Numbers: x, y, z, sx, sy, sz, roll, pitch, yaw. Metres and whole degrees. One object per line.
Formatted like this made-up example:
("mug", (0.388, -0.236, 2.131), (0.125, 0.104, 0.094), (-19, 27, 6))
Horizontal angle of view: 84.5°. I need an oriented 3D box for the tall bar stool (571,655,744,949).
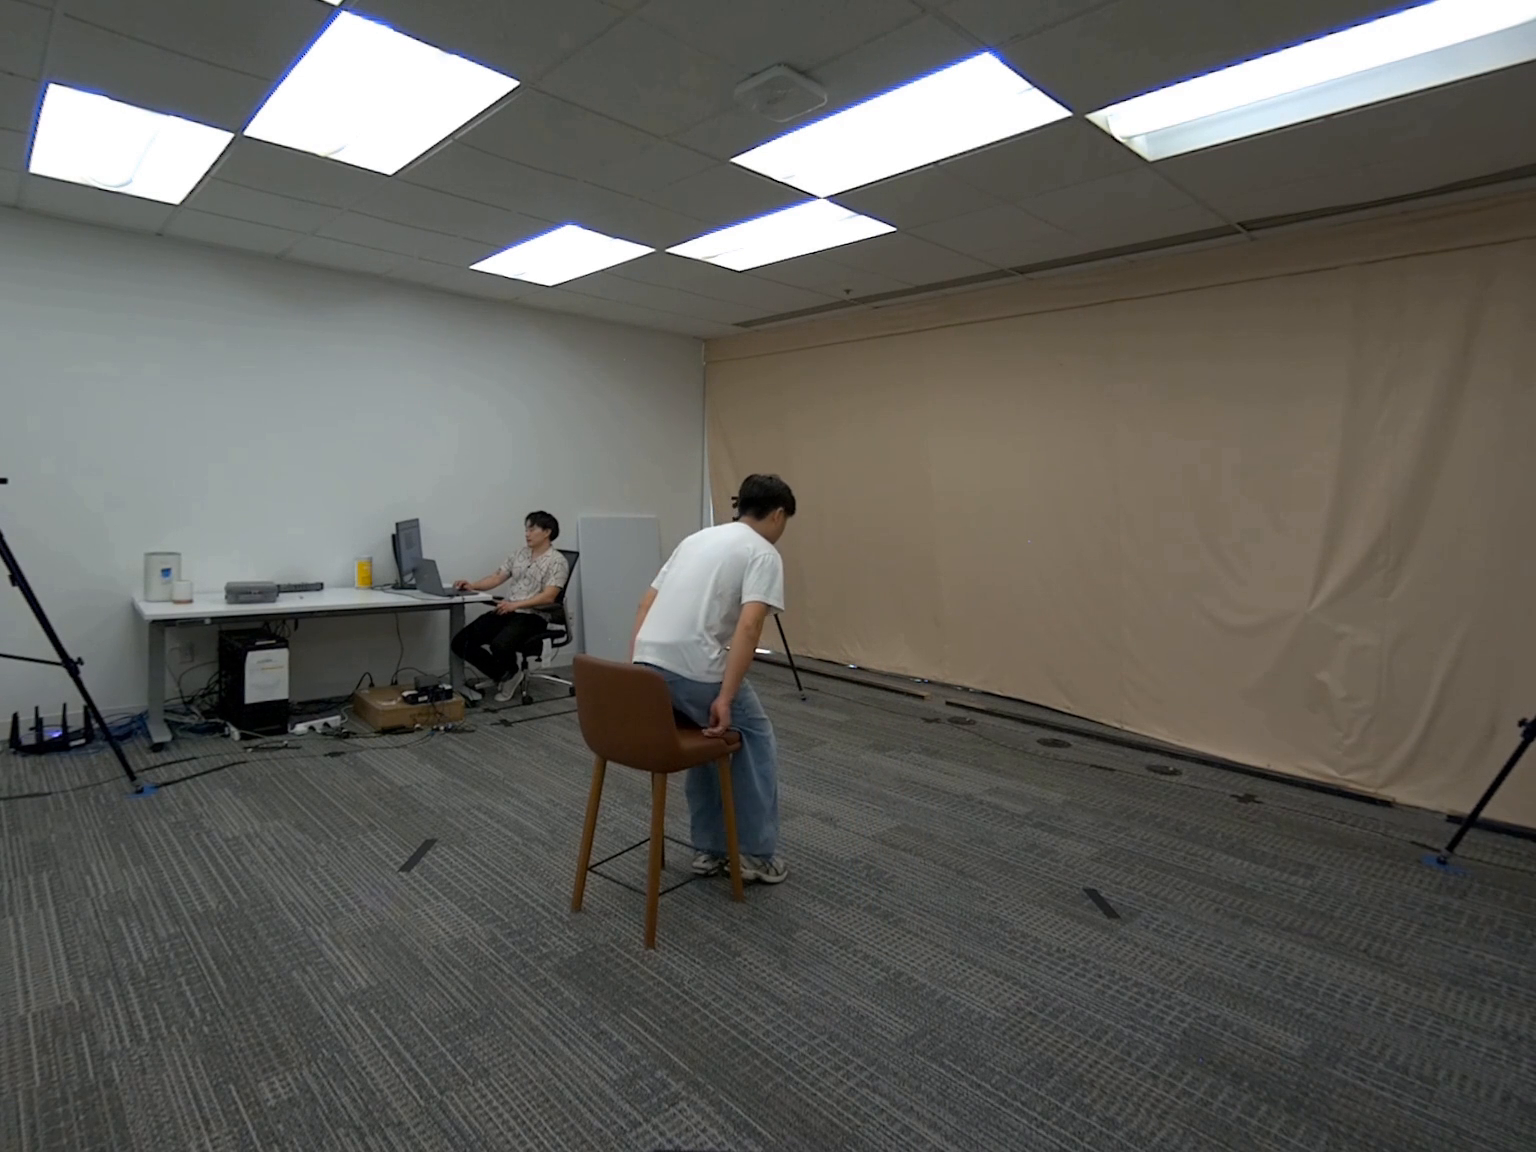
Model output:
("tall bar stool", (-0.385, 0.691, 2.839), (0.468, 0.887, 0.458), (3, 5, 38))
